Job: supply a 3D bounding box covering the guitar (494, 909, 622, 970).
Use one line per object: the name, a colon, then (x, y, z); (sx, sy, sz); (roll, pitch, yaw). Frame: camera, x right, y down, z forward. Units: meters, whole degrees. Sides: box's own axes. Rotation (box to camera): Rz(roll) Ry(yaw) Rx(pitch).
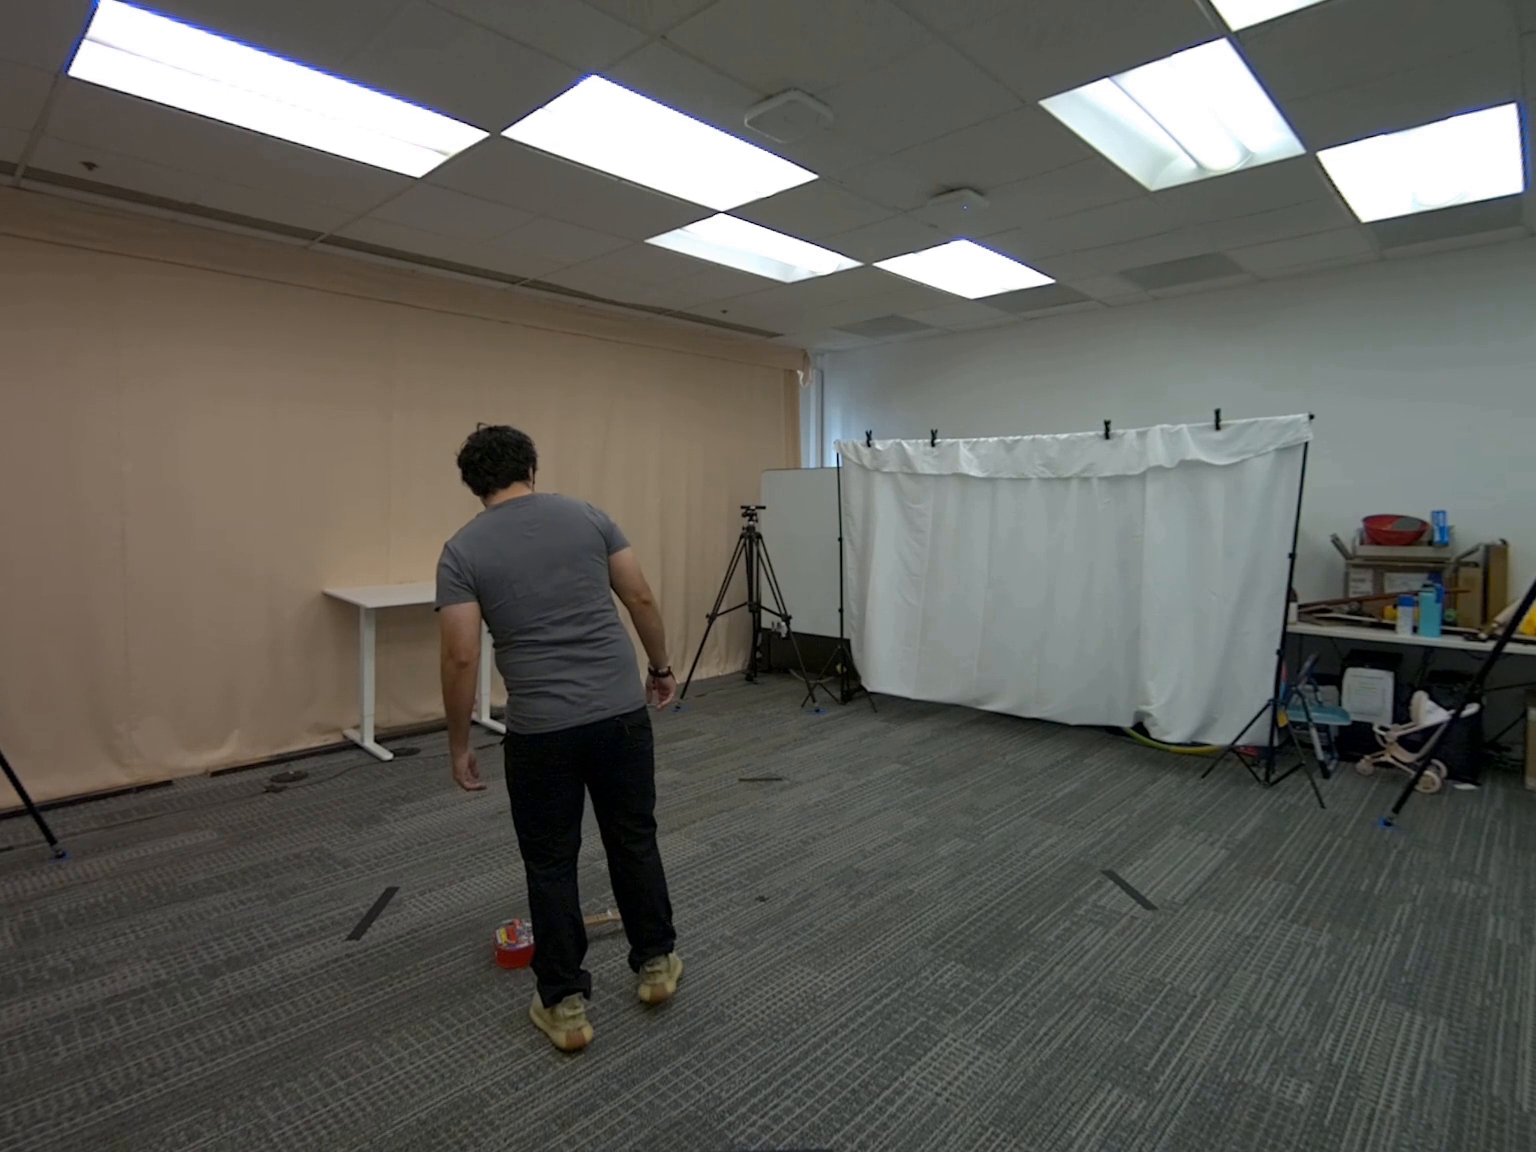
guitar: (-0.618, 1.140, 2.665); (0.492, 0.070, 0.196); (-2, 5, -11)
